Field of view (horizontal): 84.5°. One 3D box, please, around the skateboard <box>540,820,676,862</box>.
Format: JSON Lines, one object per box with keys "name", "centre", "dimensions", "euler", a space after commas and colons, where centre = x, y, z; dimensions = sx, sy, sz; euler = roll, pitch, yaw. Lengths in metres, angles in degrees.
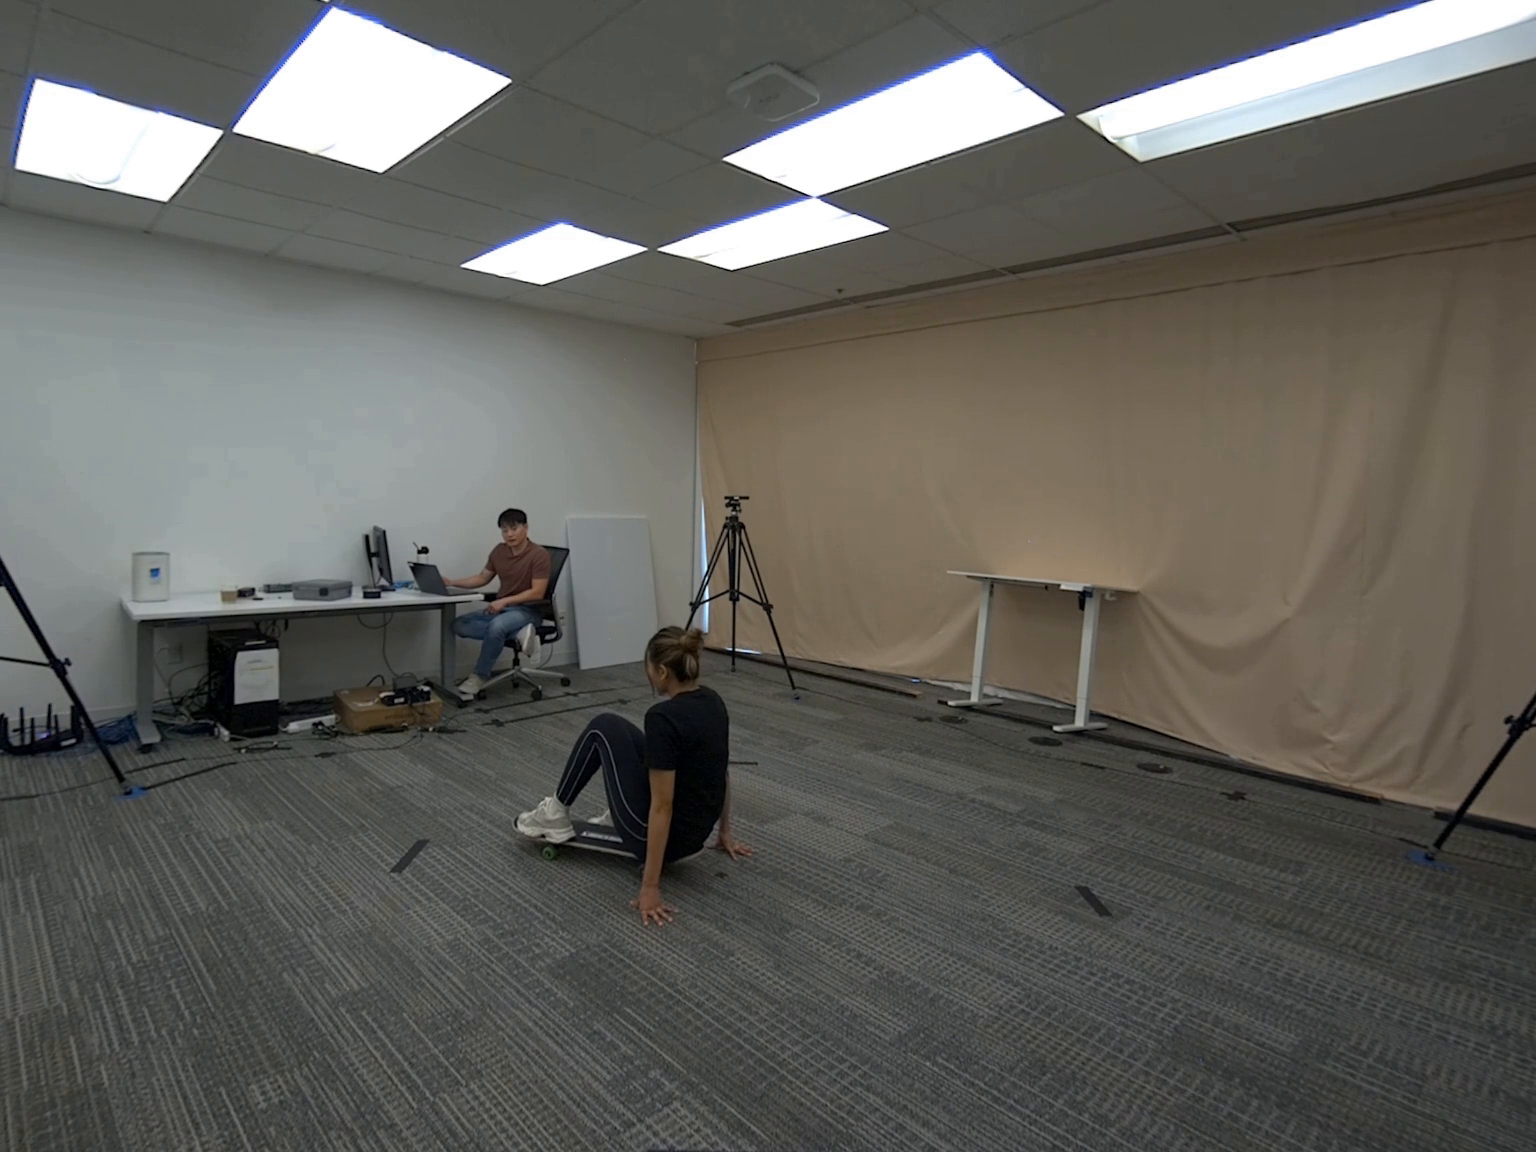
{"name": "skateboard", "centre": [-0.618, 1.032, 3.207], "dimensions": [0.798, 0.110, 0.191], "euler": [4, 7, 20]}
